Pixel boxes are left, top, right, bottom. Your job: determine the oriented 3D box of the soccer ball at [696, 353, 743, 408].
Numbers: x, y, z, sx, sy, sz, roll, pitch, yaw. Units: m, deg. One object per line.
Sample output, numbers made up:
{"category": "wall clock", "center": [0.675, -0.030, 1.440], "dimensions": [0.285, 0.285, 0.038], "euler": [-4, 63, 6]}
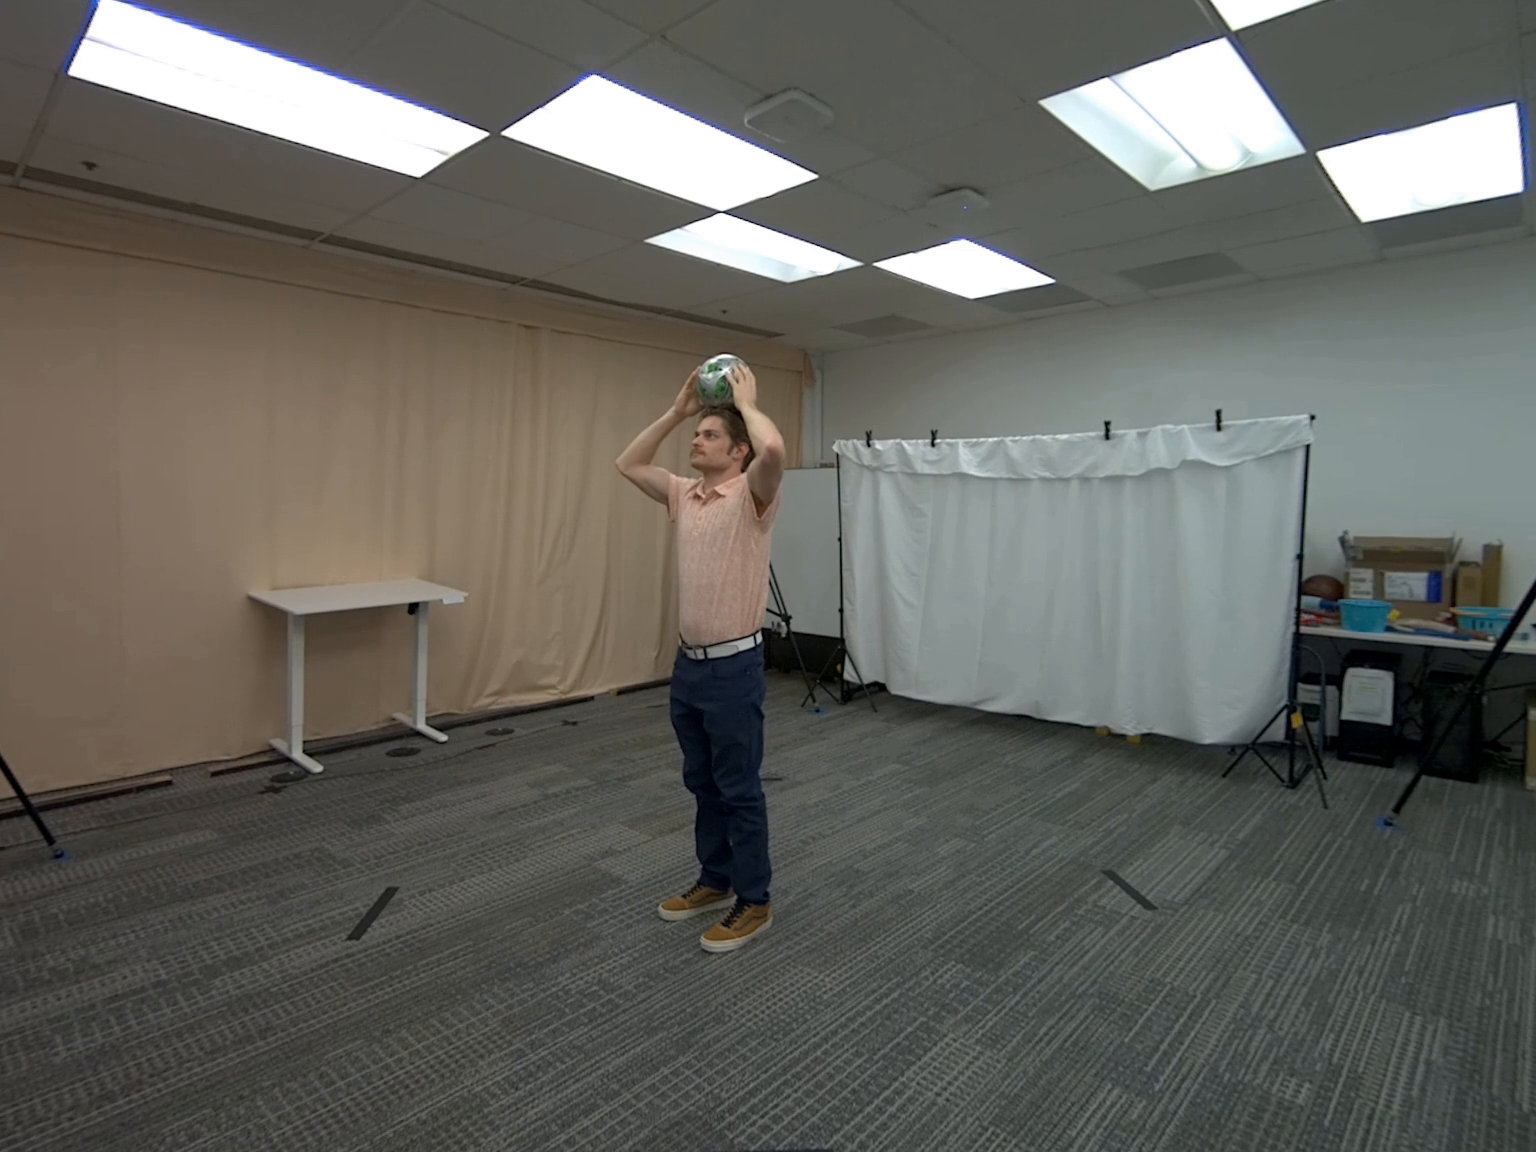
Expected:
{"category": "soccer ball", "center": [-0.141, -0.629, 2.764], "dimensions": [0.187, 0.187, 0.188], "euler": [0, 4, -2]}
